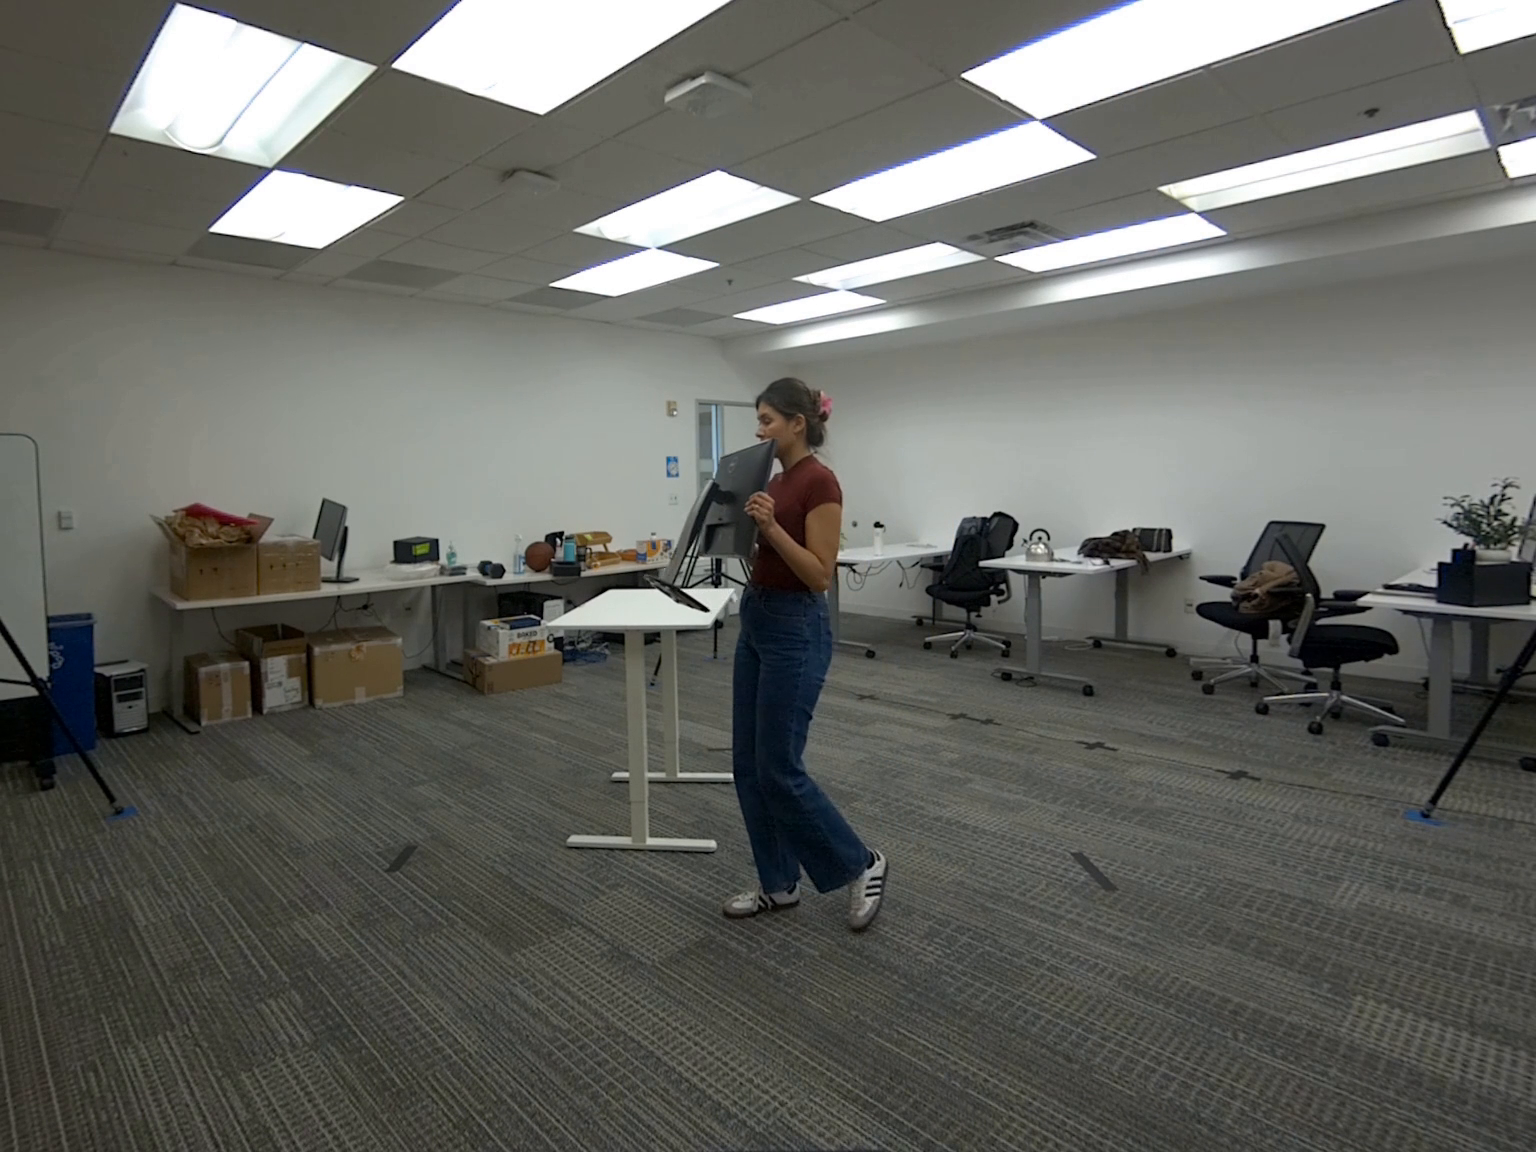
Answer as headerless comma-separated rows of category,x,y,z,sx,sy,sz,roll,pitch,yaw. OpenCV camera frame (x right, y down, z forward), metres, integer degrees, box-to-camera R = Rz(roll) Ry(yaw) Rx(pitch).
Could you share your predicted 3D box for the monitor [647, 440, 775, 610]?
monitor,-0.164,-0.164,2.643,0.183,0.524,0.550,30,-9,-20
